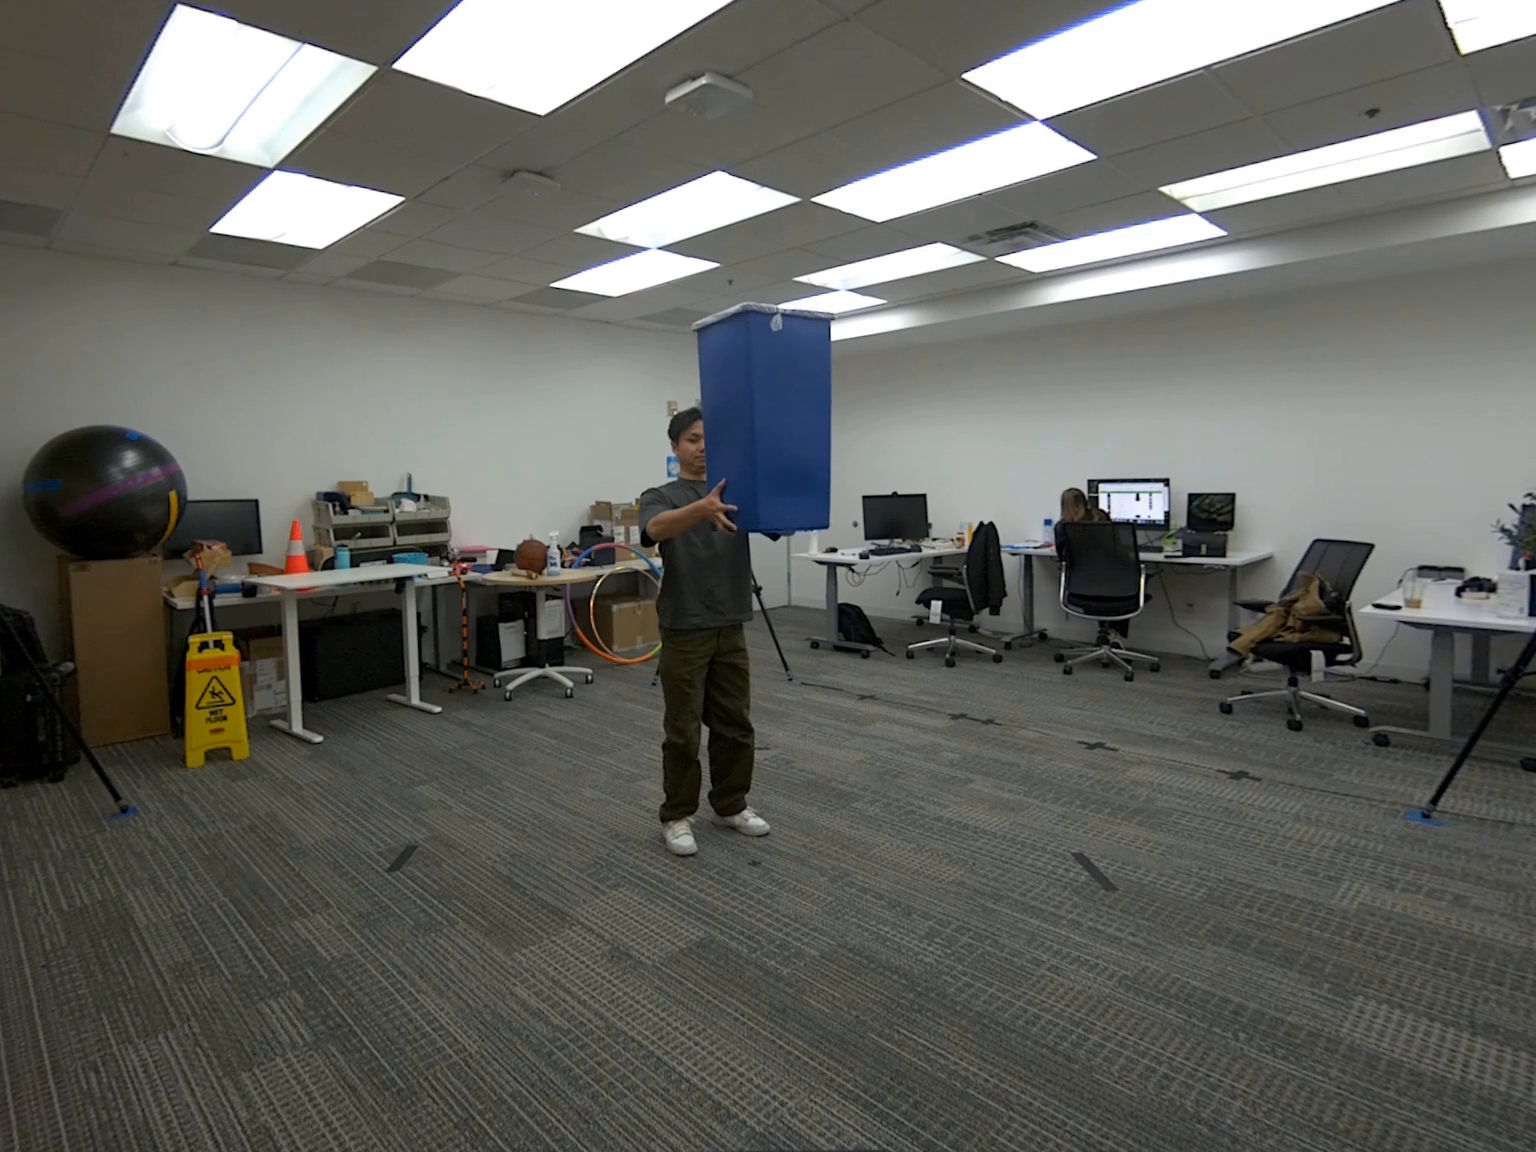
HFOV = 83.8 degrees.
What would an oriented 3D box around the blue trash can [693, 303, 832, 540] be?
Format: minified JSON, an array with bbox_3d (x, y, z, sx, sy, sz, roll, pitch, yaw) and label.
[{"bbox_3d":[0.001,-0.513,2.886,0.365,0.712,0.388,-3,3,-33],"label":"blue trash can"}]
